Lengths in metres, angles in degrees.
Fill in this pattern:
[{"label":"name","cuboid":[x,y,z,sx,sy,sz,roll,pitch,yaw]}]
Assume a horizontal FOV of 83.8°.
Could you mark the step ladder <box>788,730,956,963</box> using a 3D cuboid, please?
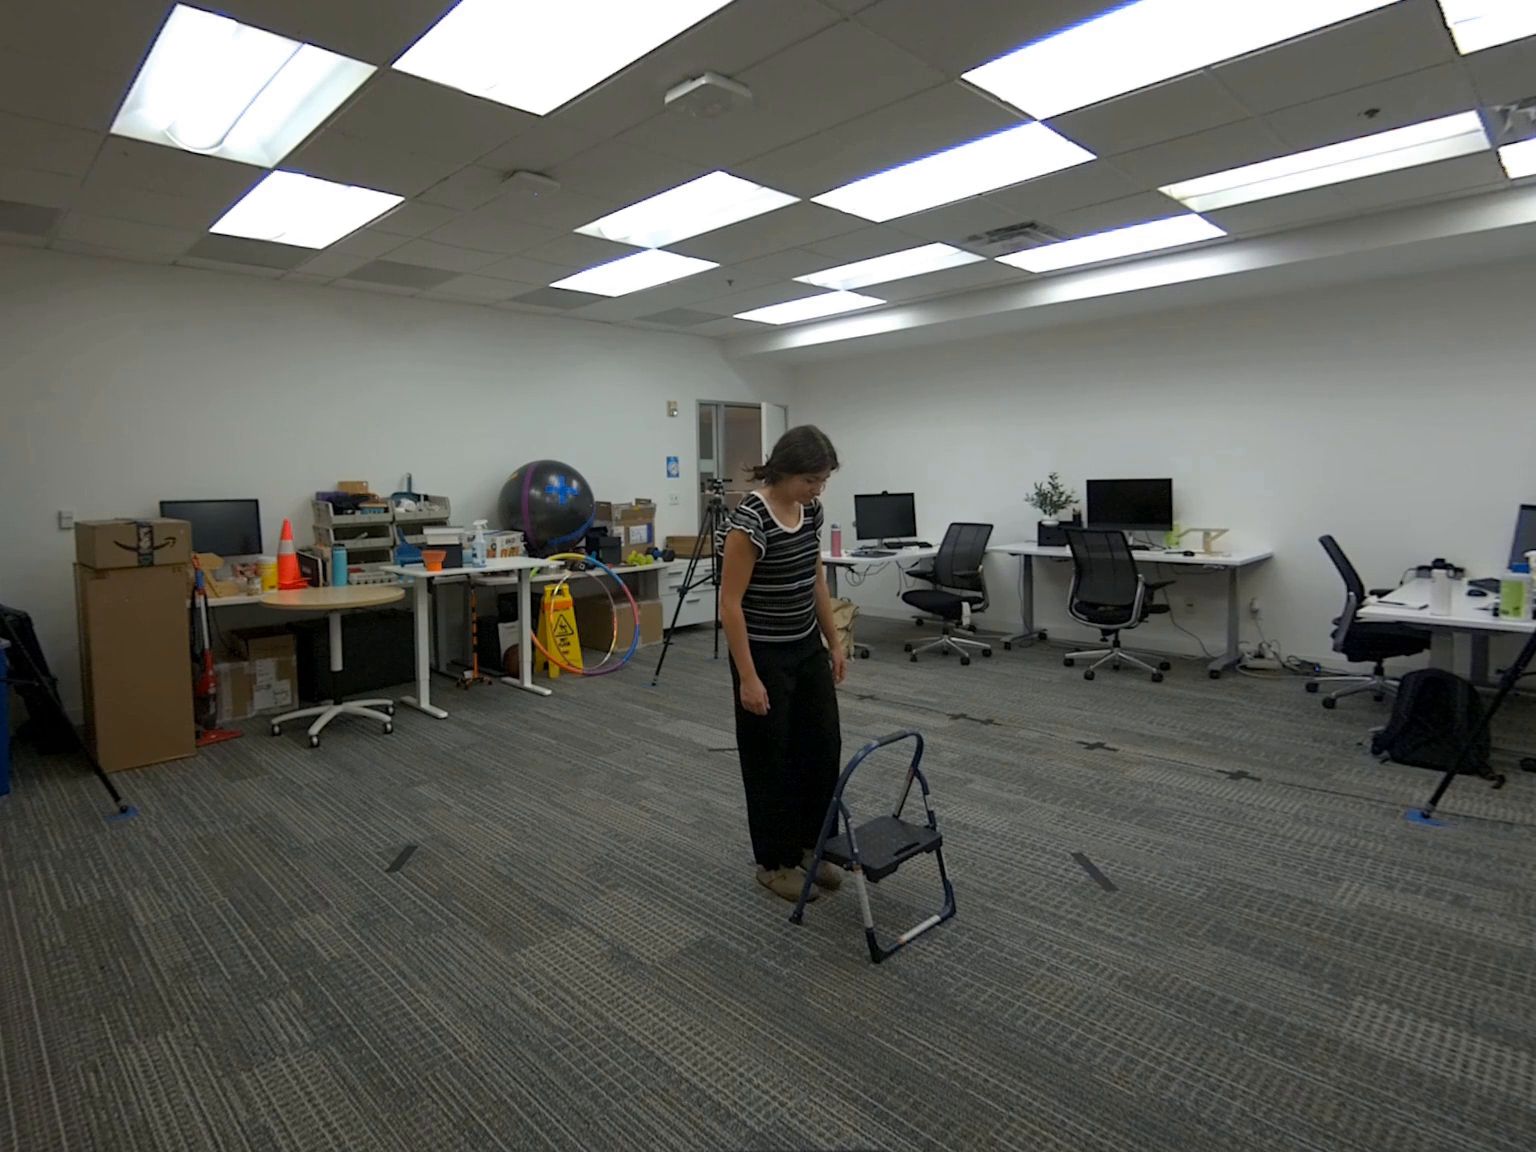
[{"label":"step ladder","cuboid":[0.332,0.784,2.693,0.419,0.604,0.360,-6,6,-44]}]
